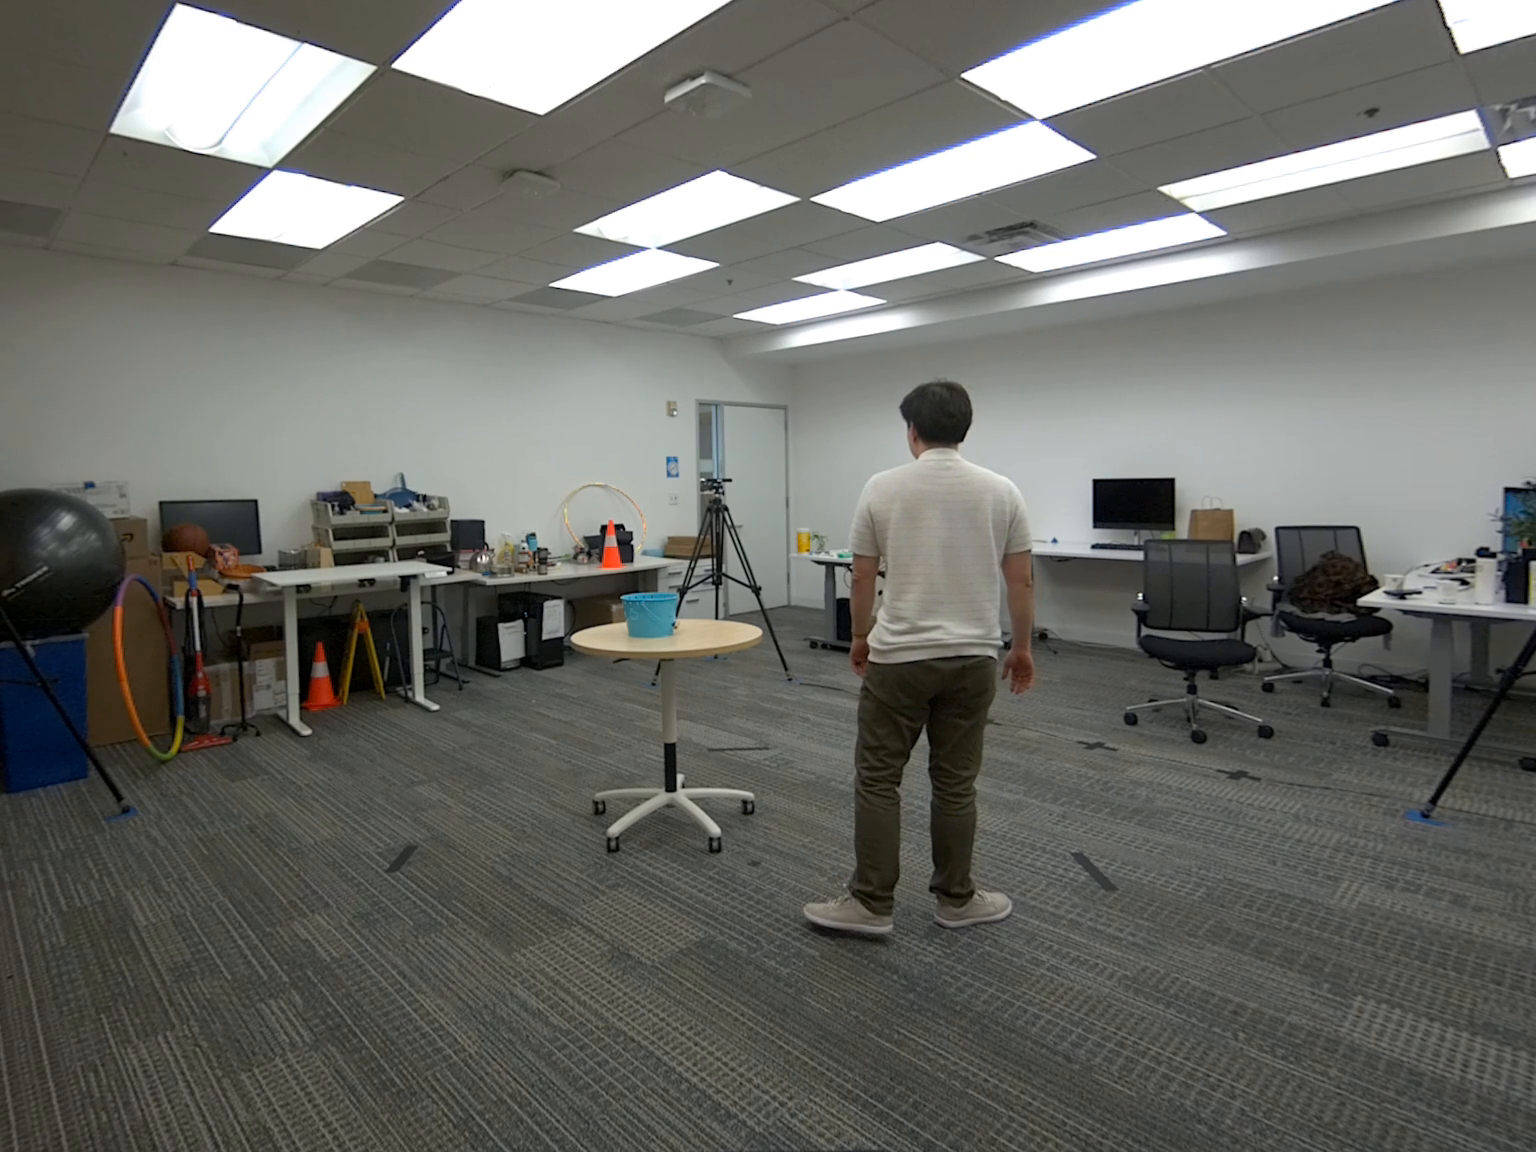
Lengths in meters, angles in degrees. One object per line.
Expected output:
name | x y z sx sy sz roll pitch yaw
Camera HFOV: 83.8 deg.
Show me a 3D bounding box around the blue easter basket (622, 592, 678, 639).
blue easter basket | -0.472 0.160 3.427 0.243 0.155 0.245 -2 4 -2
